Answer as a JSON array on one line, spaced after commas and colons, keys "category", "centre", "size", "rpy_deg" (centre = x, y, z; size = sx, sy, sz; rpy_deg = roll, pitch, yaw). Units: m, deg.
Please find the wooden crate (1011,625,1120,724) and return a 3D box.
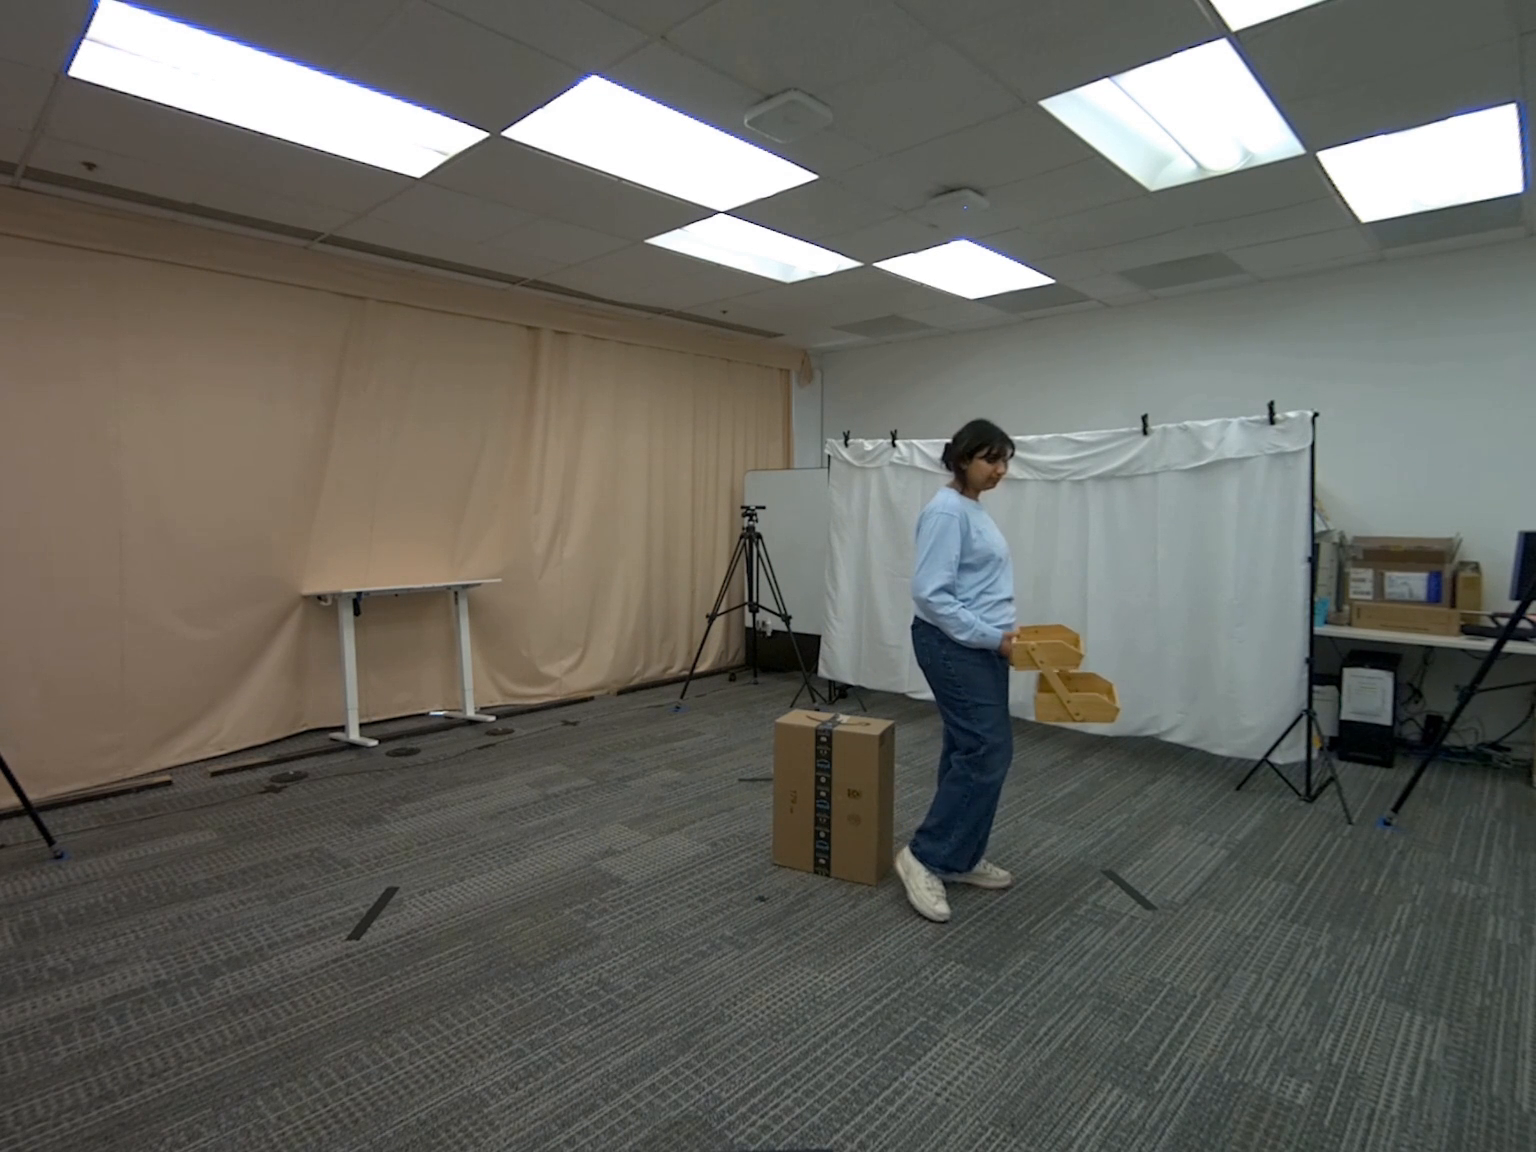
[{"category": "wooden crate", "centre": [0.996, 0.313, 2.785], "size": [0.308, 0.272, 0.319], "rpy_deg": [-5, 5, 20]}]
